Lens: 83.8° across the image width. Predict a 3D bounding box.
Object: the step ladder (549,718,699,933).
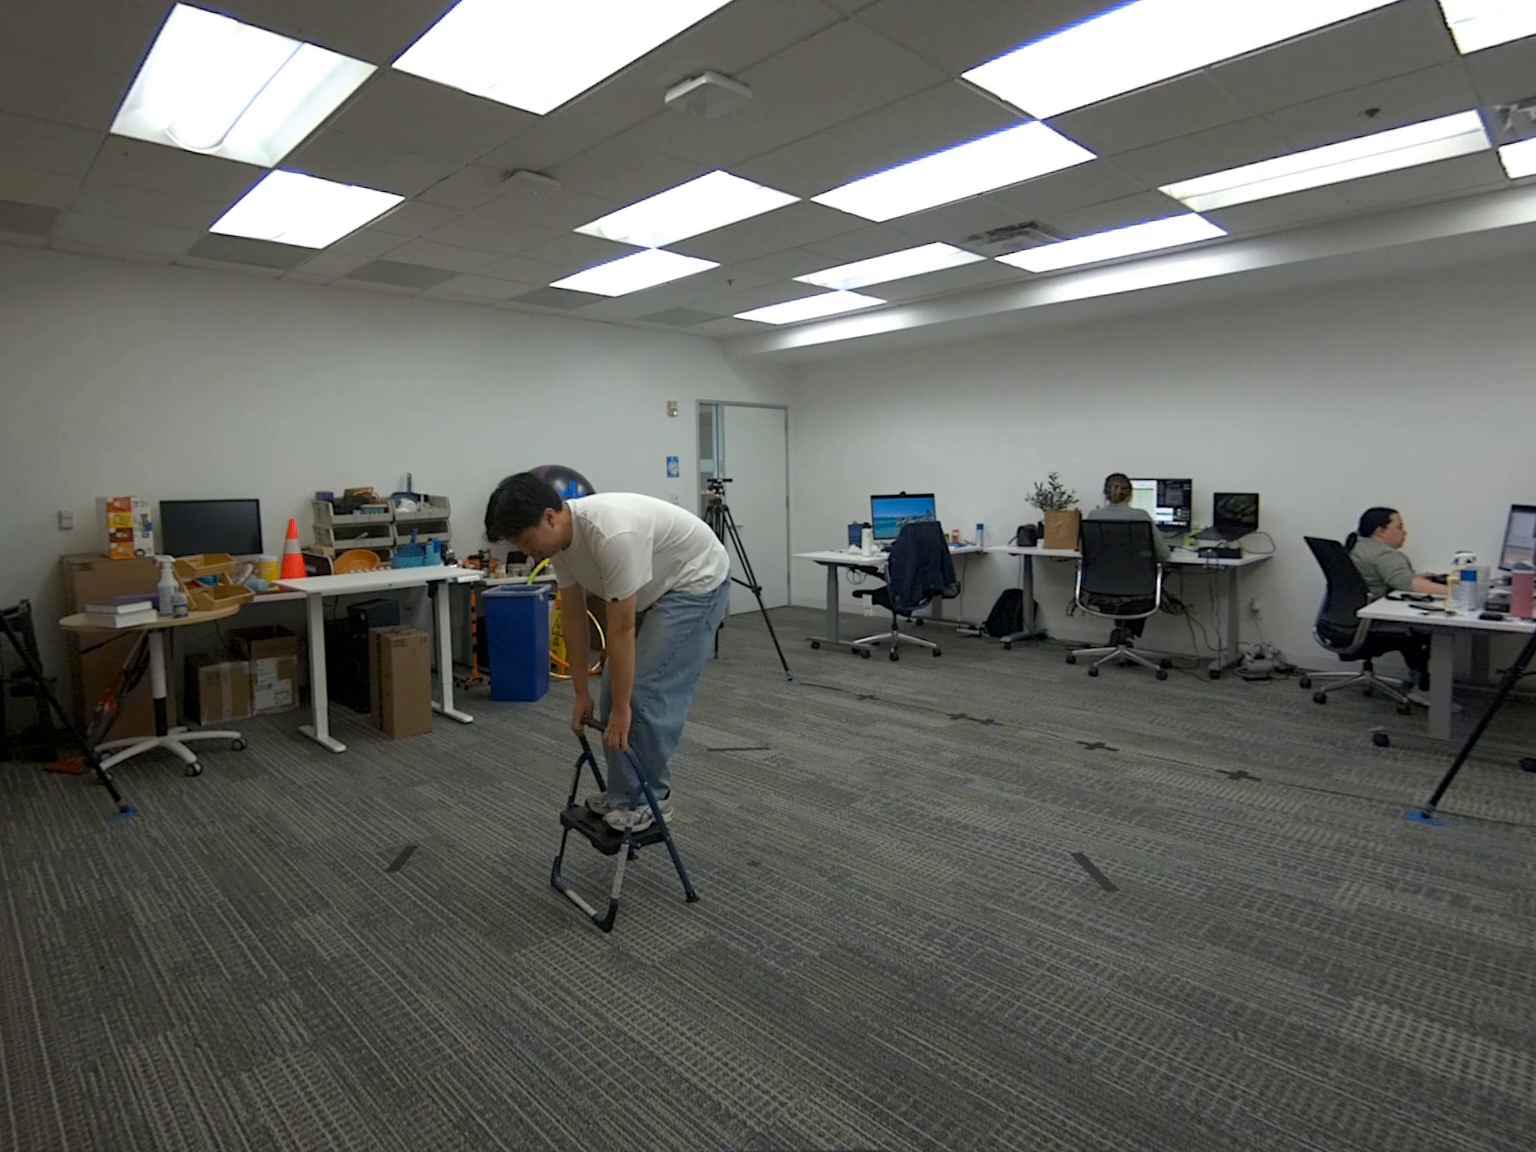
[{"bbox_3d":[-0.503,0.776,2.892,0.340,0.604,0.444,-5,6,-38],"label":"step ladder"}]
